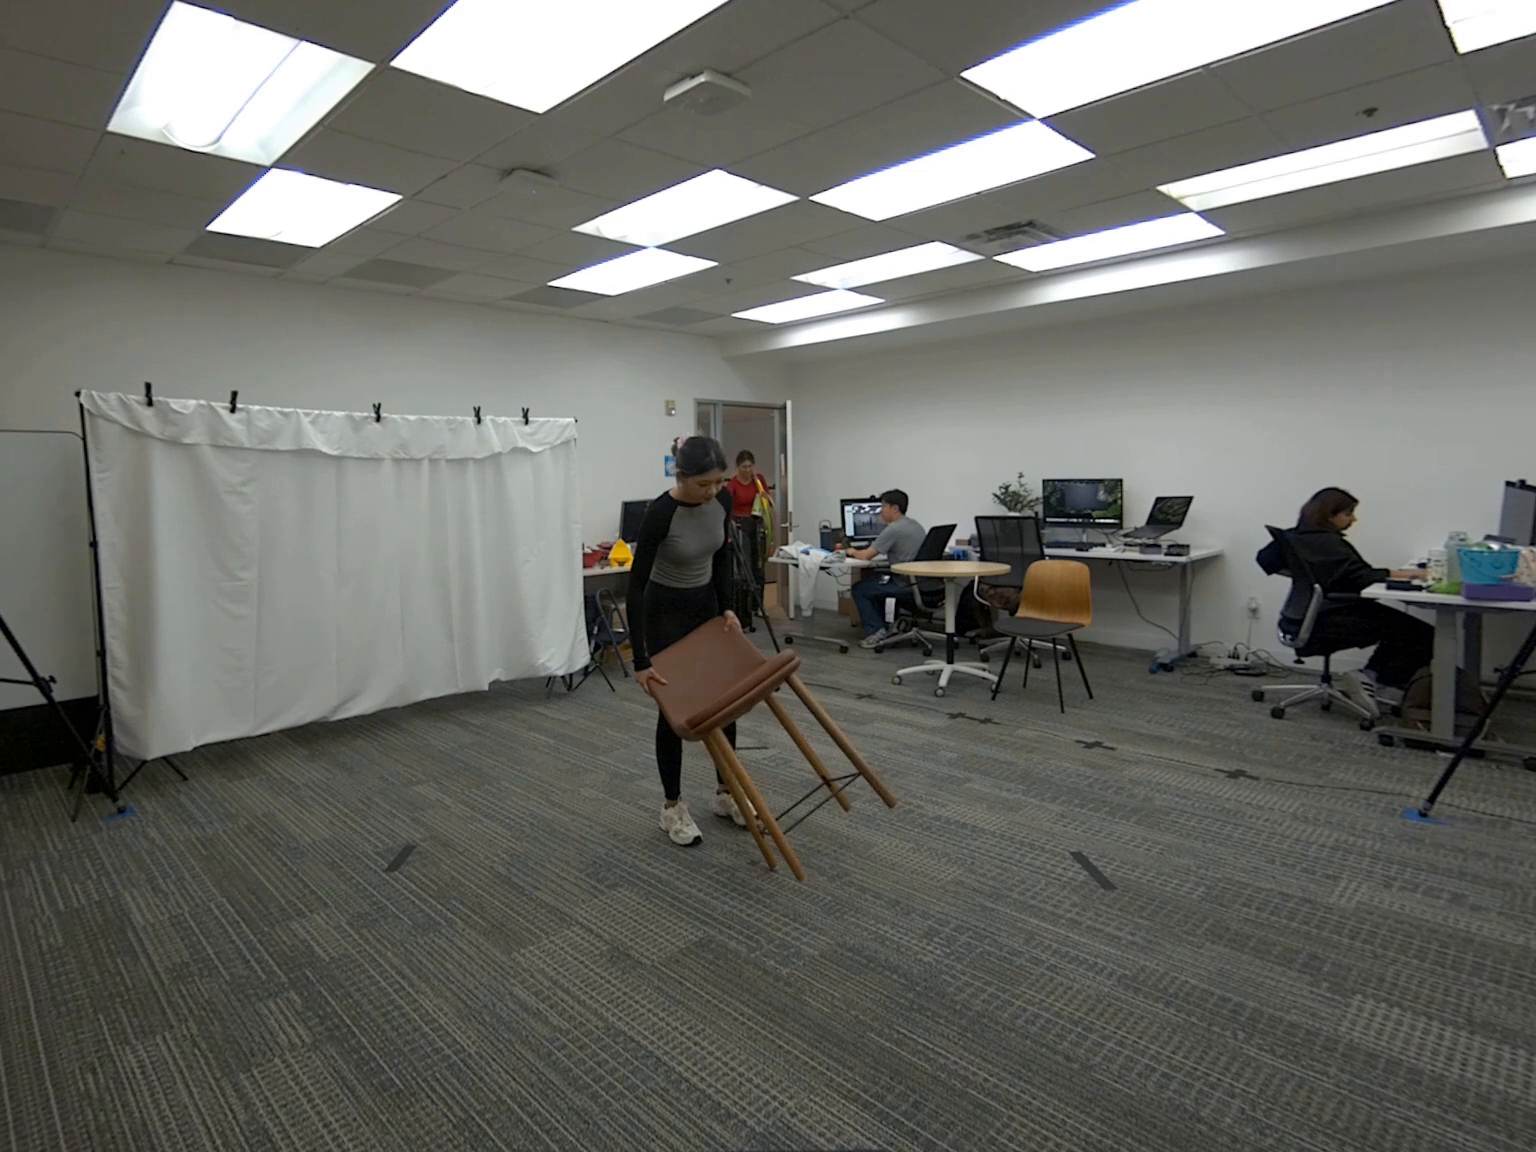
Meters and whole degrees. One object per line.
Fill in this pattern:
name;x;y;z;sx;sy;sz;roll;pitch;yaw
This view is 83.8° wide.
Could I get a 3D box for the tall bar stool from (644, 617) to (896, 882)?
tall bar stool;-0.032;0.544;2.983;0.453;0.903;0.464;-31;-11;-18
